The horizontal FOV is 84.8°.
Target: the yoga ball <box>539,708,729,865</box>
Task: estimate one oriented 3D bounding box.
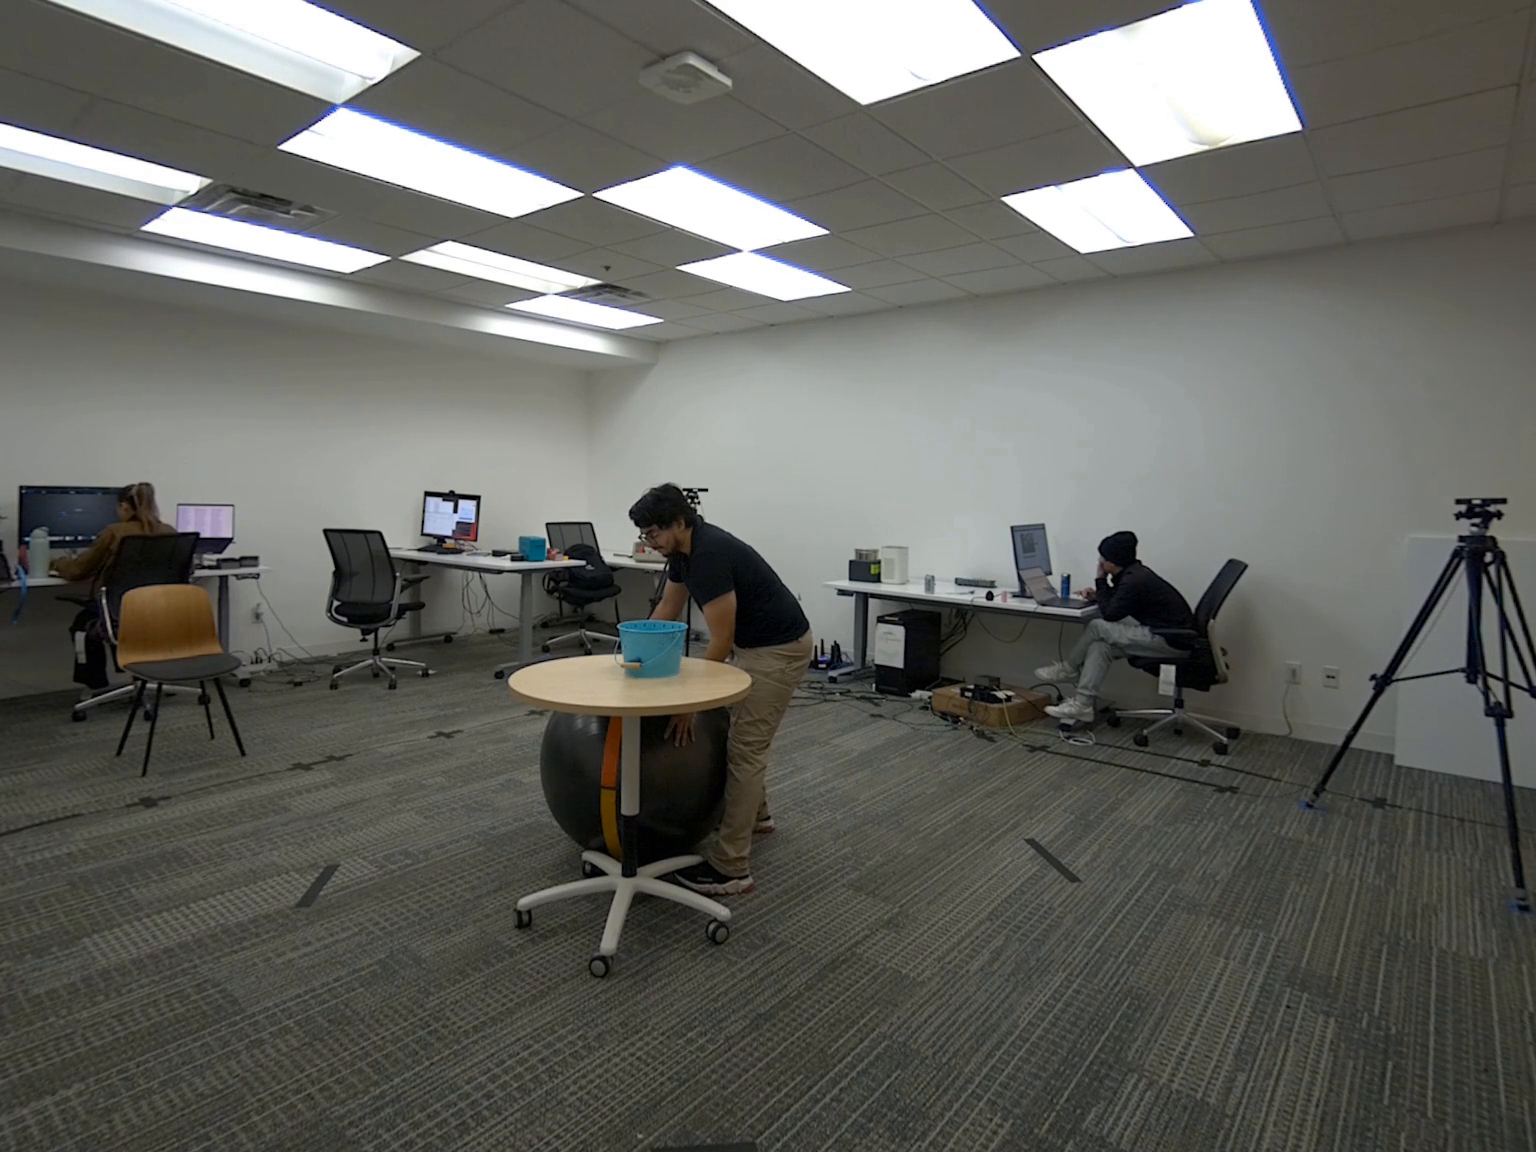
[{"bbox_3d":[-0.509,0.705,3.273,0.757,0.755,0.762,1,4,-2],"label":"yoga ball"}]
